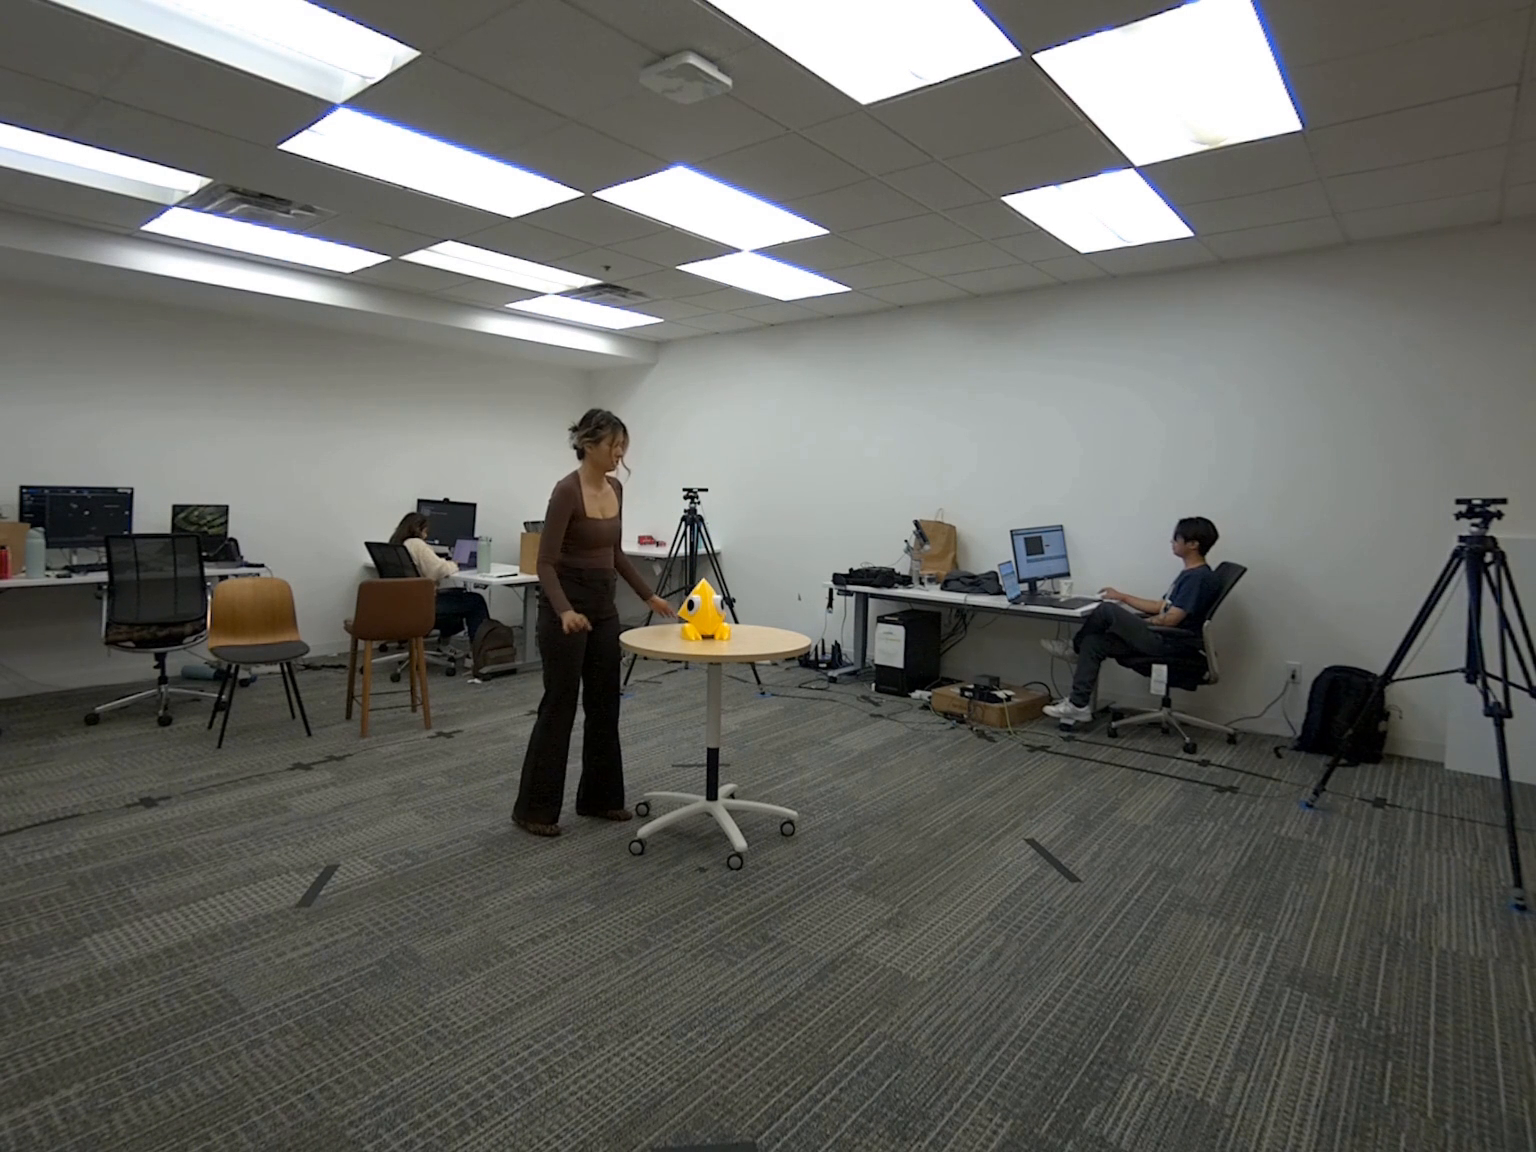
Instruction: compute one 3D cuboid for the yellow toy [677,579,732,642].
[{"bbox_3d":[-0.260,0.129,3.410,0.202,0.230,0.196,2,3,-12],"label":"yellow toy"}]
